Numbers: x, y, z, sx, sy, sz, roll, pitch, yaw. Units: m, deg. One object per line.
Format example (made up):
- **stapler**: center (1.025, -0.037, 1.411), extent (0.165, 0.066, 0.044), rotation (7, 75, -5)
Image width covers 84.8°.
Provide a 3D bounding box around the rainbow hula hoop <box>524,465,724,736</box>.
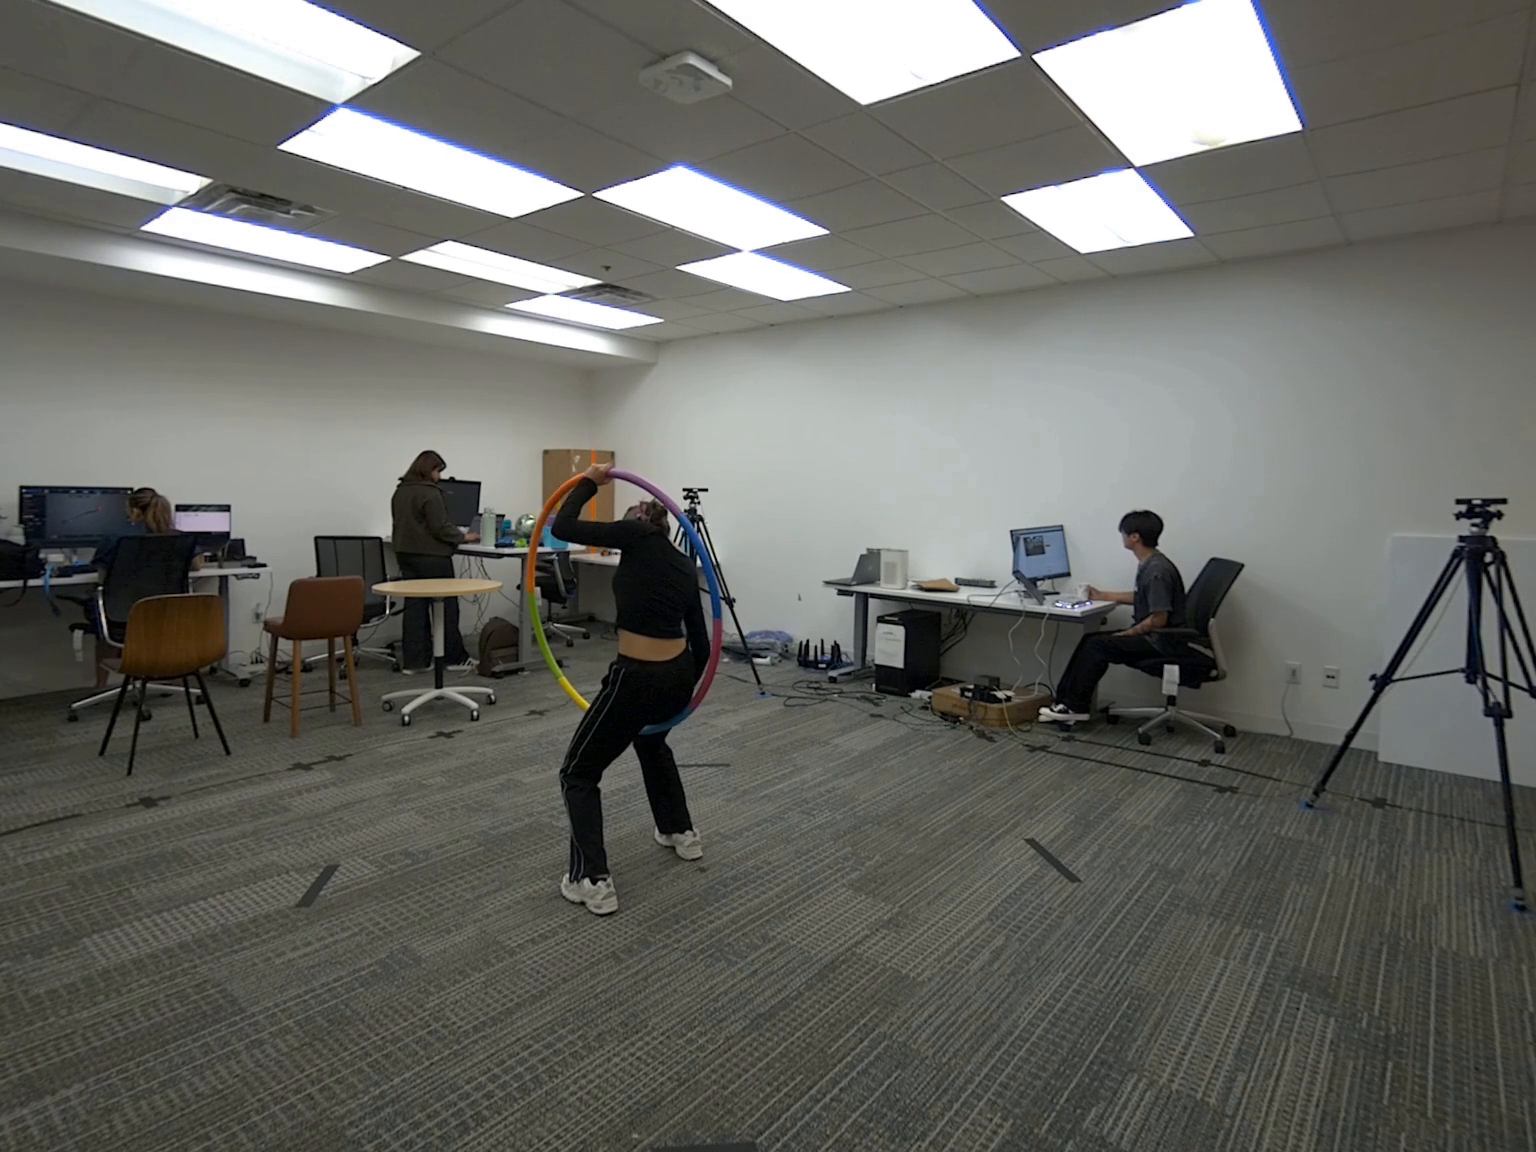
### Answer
- **rainbow hula hoop**: center (-0.579, 0.091, 3.159), extent (1.010, 0.970, 0.035), rotation (4, 10, 36)
